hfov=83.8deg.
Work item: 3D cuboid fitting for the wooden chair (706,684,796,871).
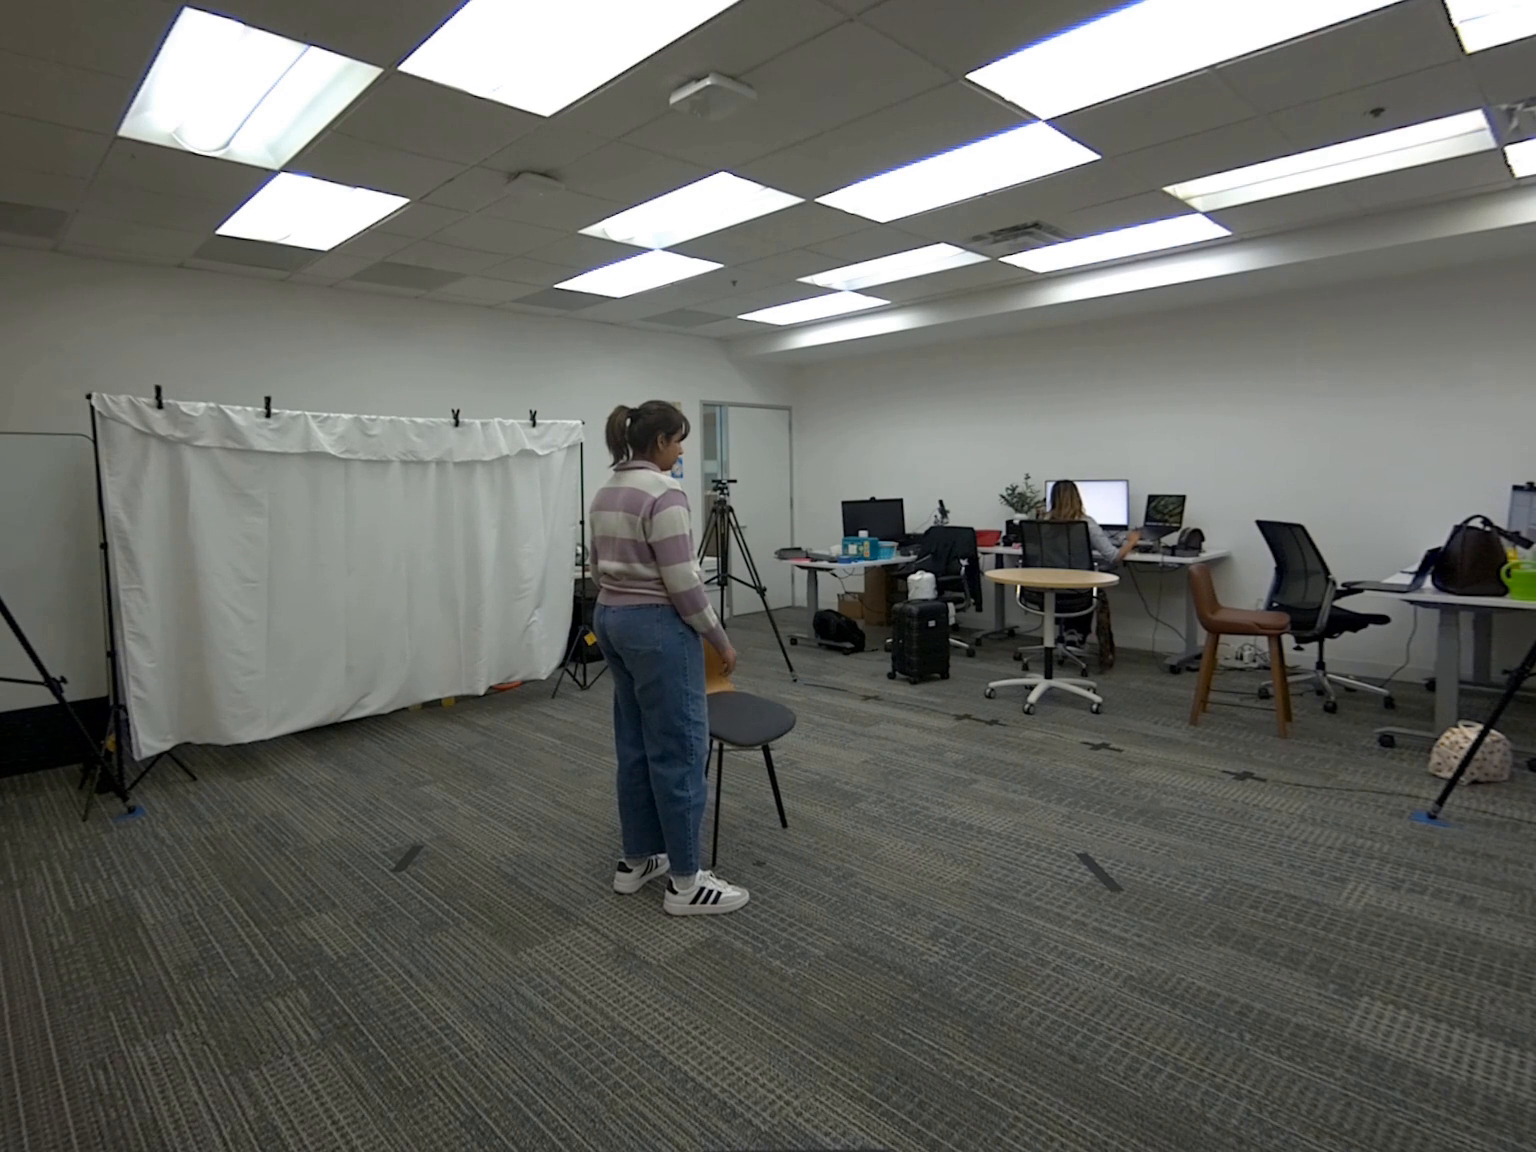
[{"bbox_3d":[-0.183,0.573,3.328,0.540,0.873,0.466,7,7,38],"label":"wooden chair"}]
